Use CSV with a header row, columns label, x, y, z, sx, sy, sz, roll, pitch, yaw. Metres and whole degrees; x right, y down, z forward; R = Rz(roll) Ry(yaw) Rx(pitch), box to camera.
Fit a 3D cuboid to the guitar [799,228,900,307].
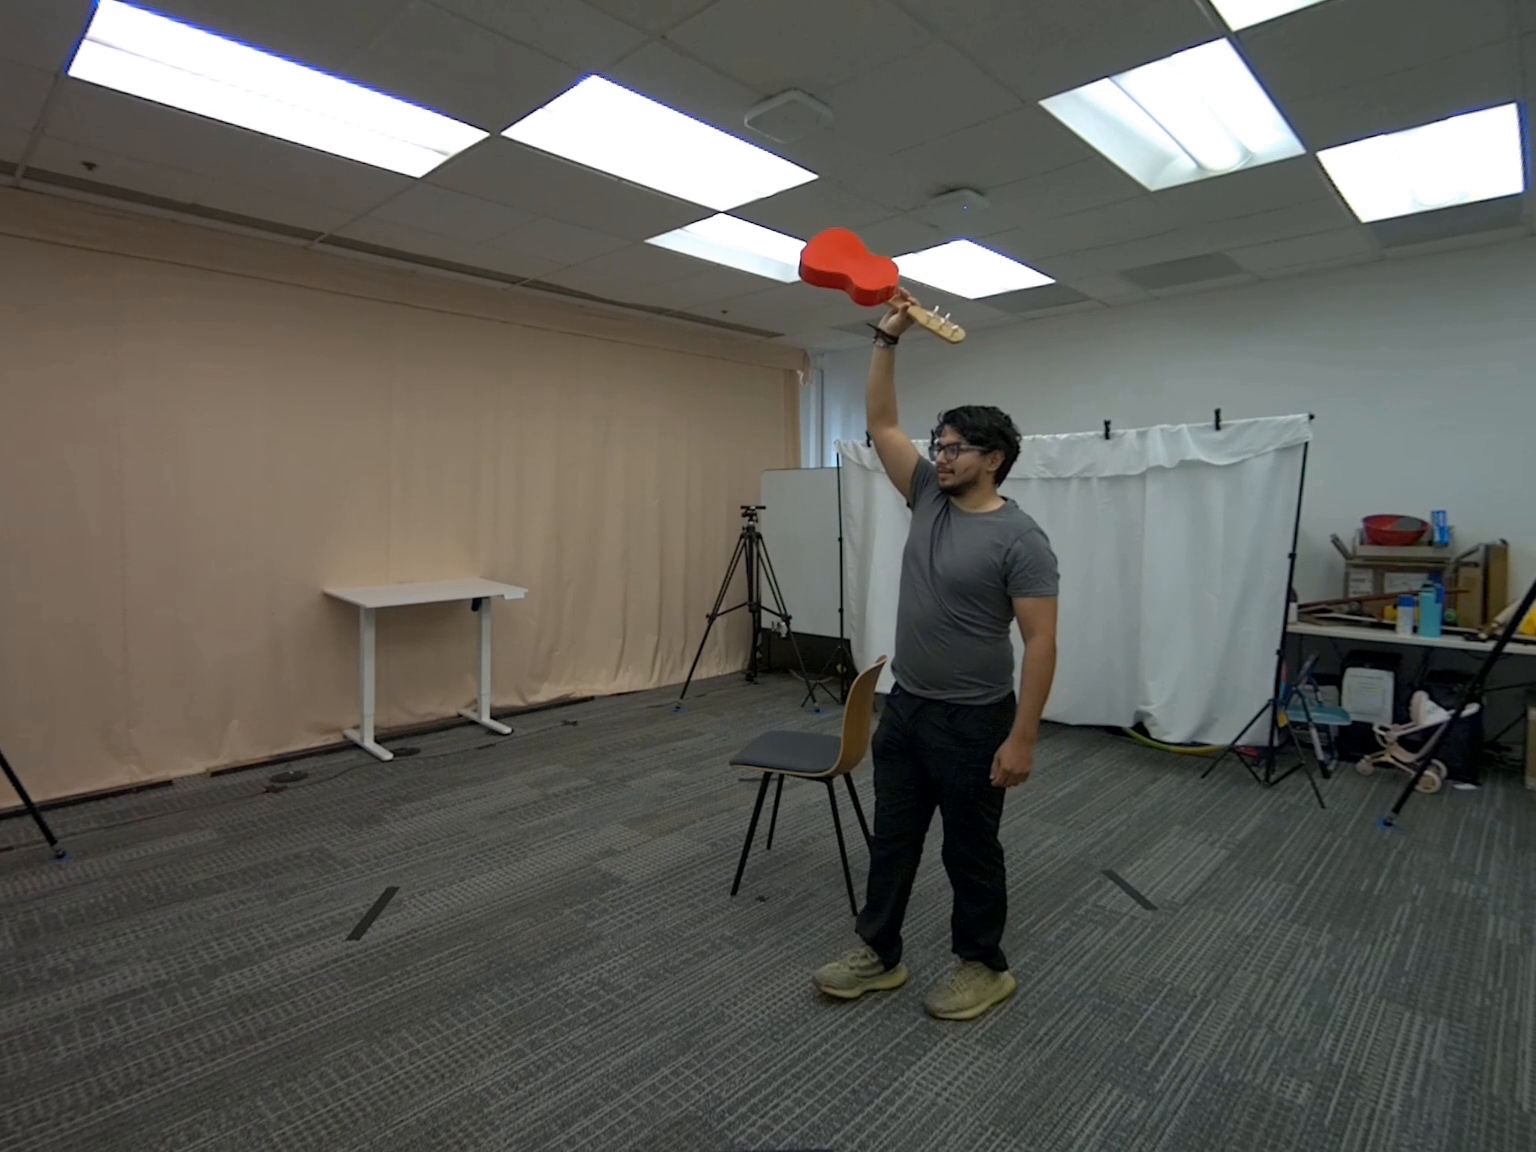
label,x,y,z,sx,sy,sz,roll,pitch,yaw
guitar,0.328,-0.787,2.260,0.507,0.192,0.069,28,-28,15
